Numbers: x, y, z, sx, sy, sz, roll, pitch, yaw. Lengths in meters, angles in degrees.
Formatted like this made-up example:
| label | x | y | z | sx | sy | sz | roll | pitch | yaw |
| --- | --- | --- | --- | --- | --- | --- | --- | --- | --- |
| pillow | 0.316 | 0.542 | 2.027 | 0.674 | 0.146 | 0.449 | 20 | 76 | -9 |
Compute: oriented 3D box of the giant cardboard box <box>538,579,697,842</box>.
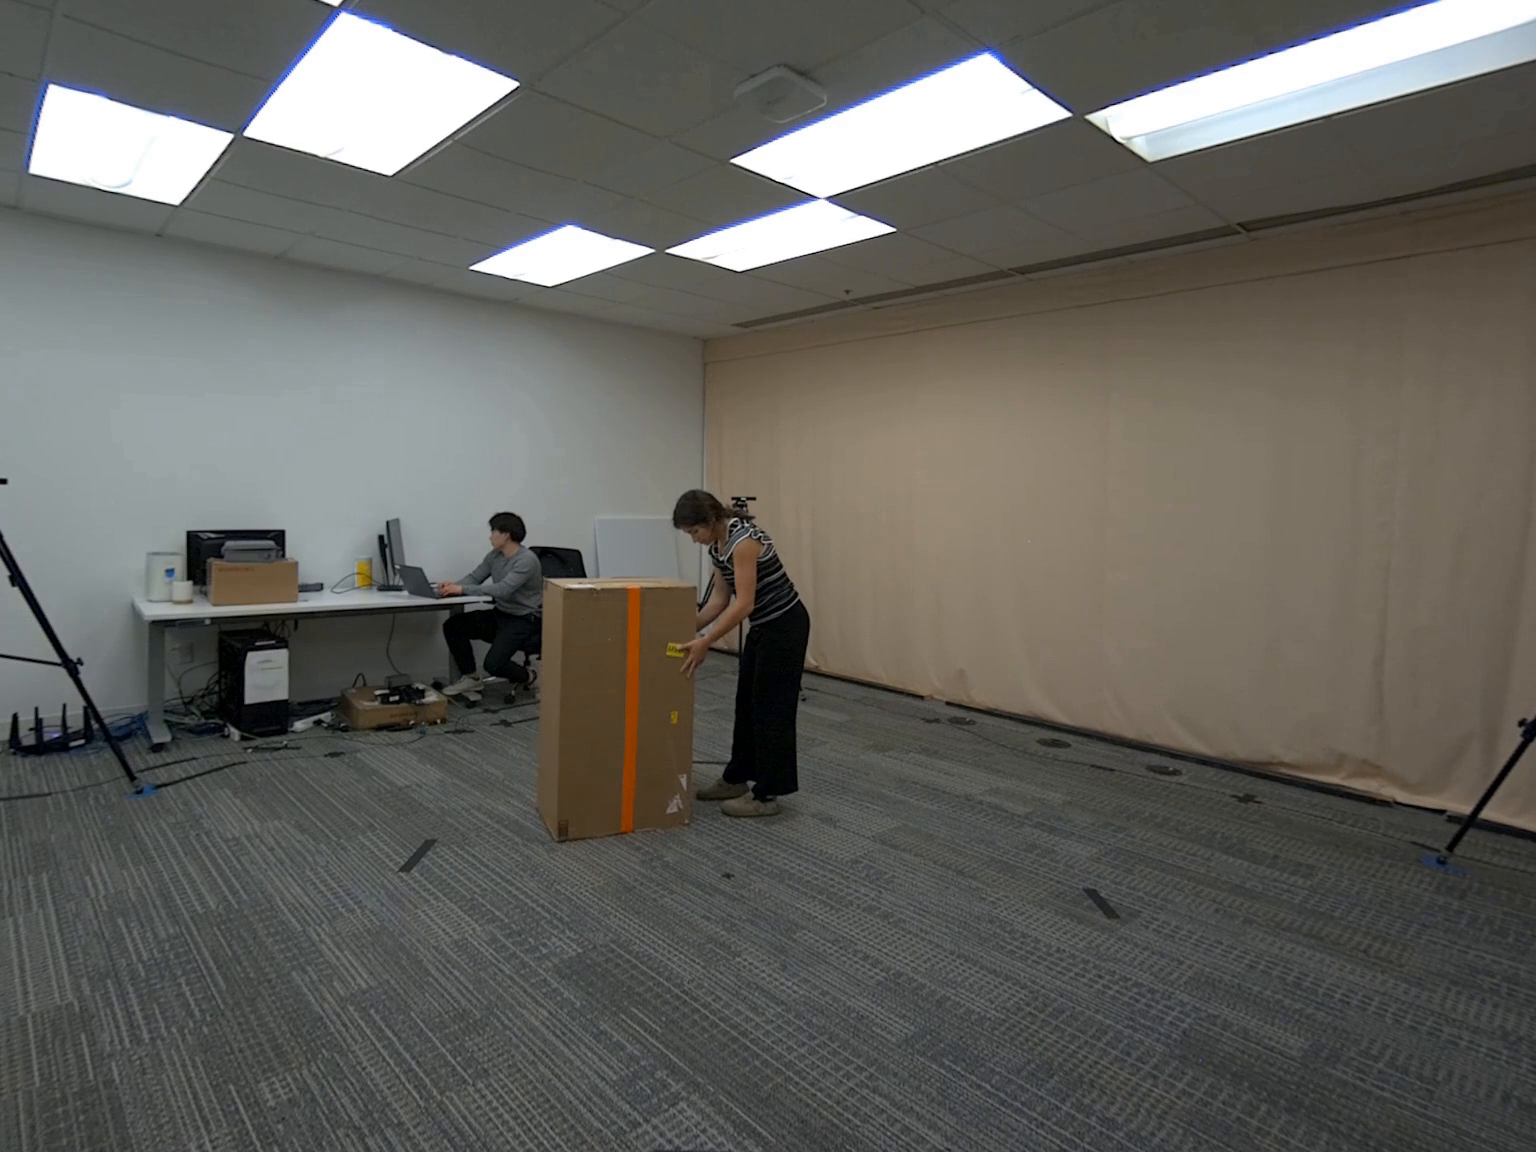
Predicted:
| label | x | y | z | sx | sy | sz | roll | pitch | yaw |
| --- | --- | --- | --- | --- | --- | --- | --- | --- | --- |
| giant cardboard box | -0.668 | 0.540 | 3.639 | 0.567 | 1.024 | 0.435 | 1 | 3 | -25 |
